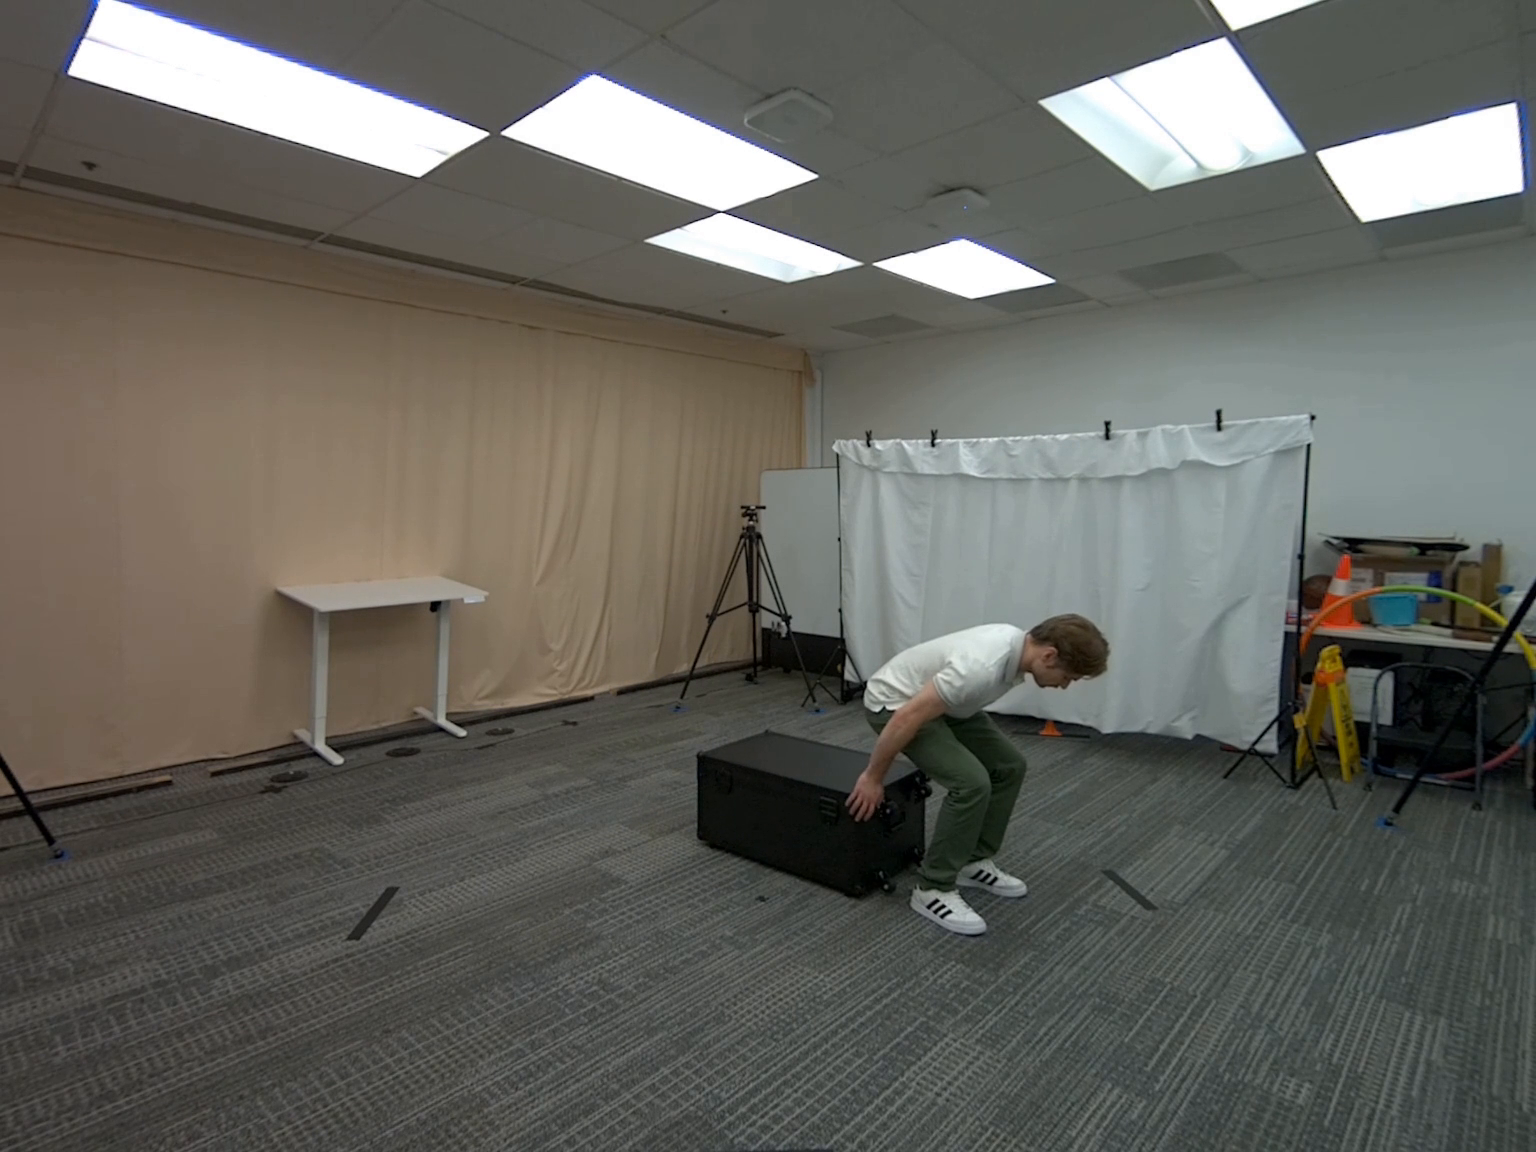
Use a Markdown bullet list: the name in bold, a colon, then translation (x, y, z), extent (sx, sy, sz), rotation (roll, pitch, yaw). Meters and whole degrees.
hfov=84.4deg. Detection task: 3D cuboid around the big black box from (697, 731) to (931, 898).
- **big black box**: translation (0.190, 0.916, 3.346), extent (0.897, 0.384, 0.507), rotation (4, 5, 39)
